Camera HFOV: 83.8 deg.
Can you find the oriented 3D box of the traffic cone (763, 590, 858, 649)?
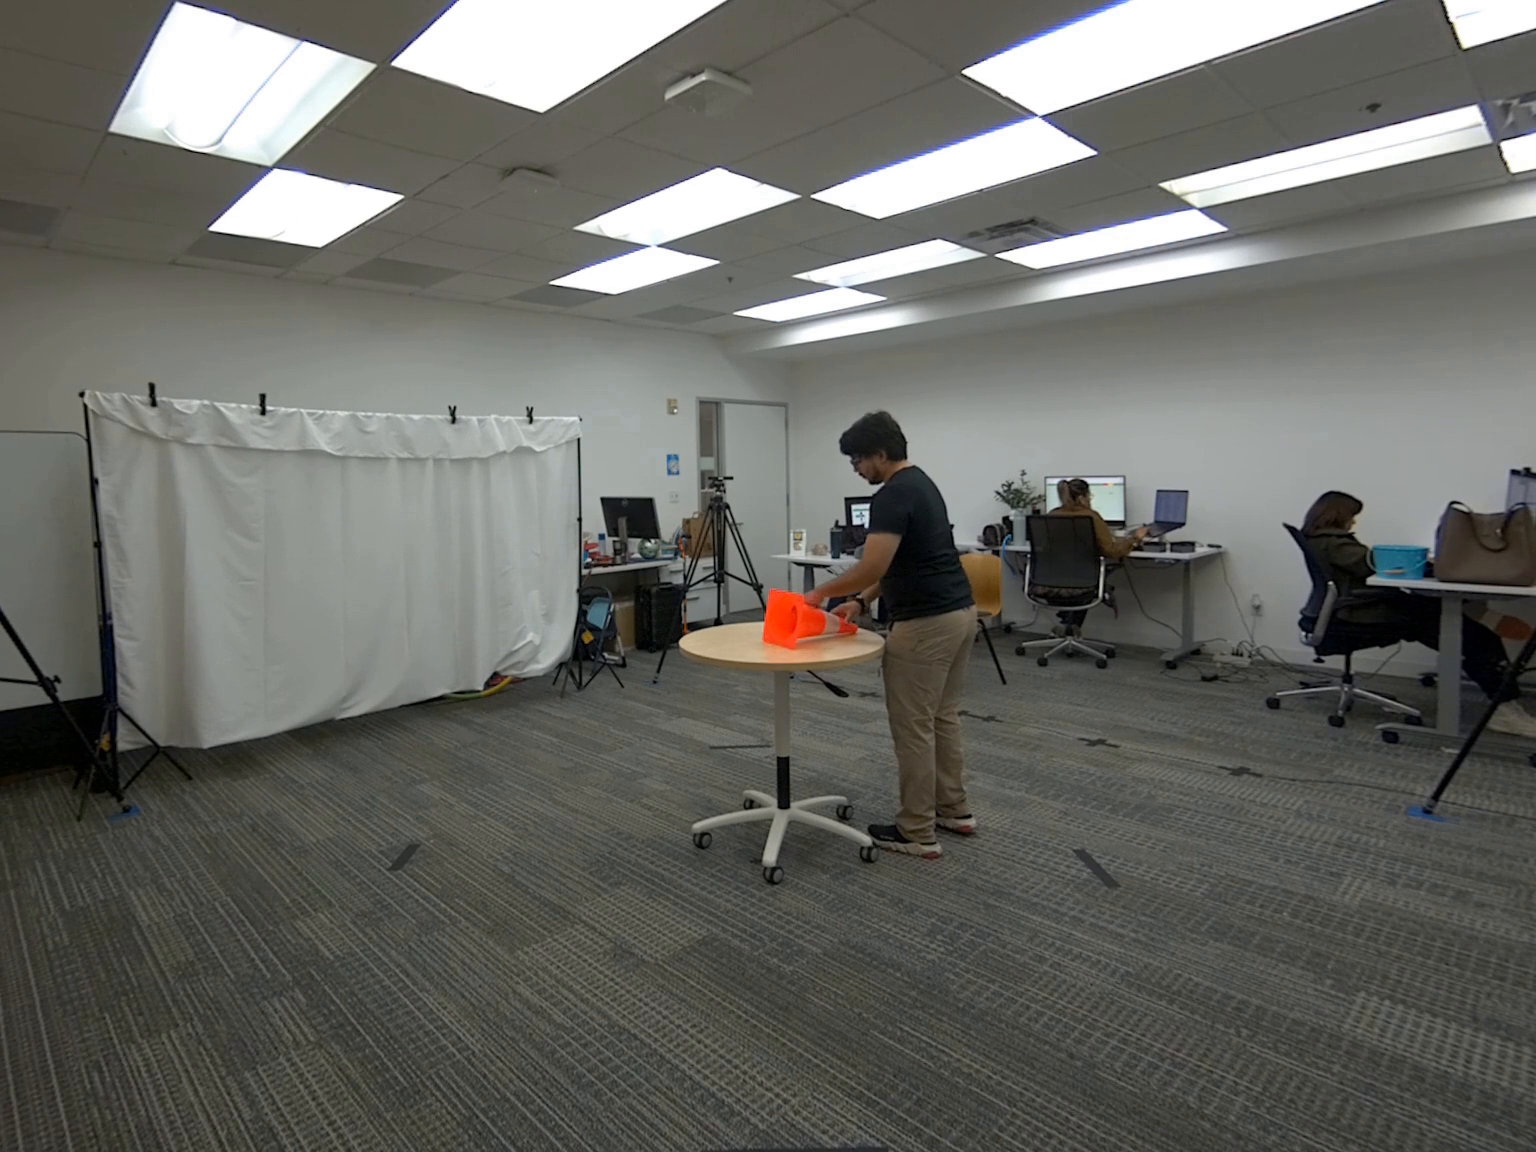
[{"bbox_3d":[0.201,0.188,3.204,0.371,0.205,0.209,13,-3,-35],"label":"traffic cone"}]
